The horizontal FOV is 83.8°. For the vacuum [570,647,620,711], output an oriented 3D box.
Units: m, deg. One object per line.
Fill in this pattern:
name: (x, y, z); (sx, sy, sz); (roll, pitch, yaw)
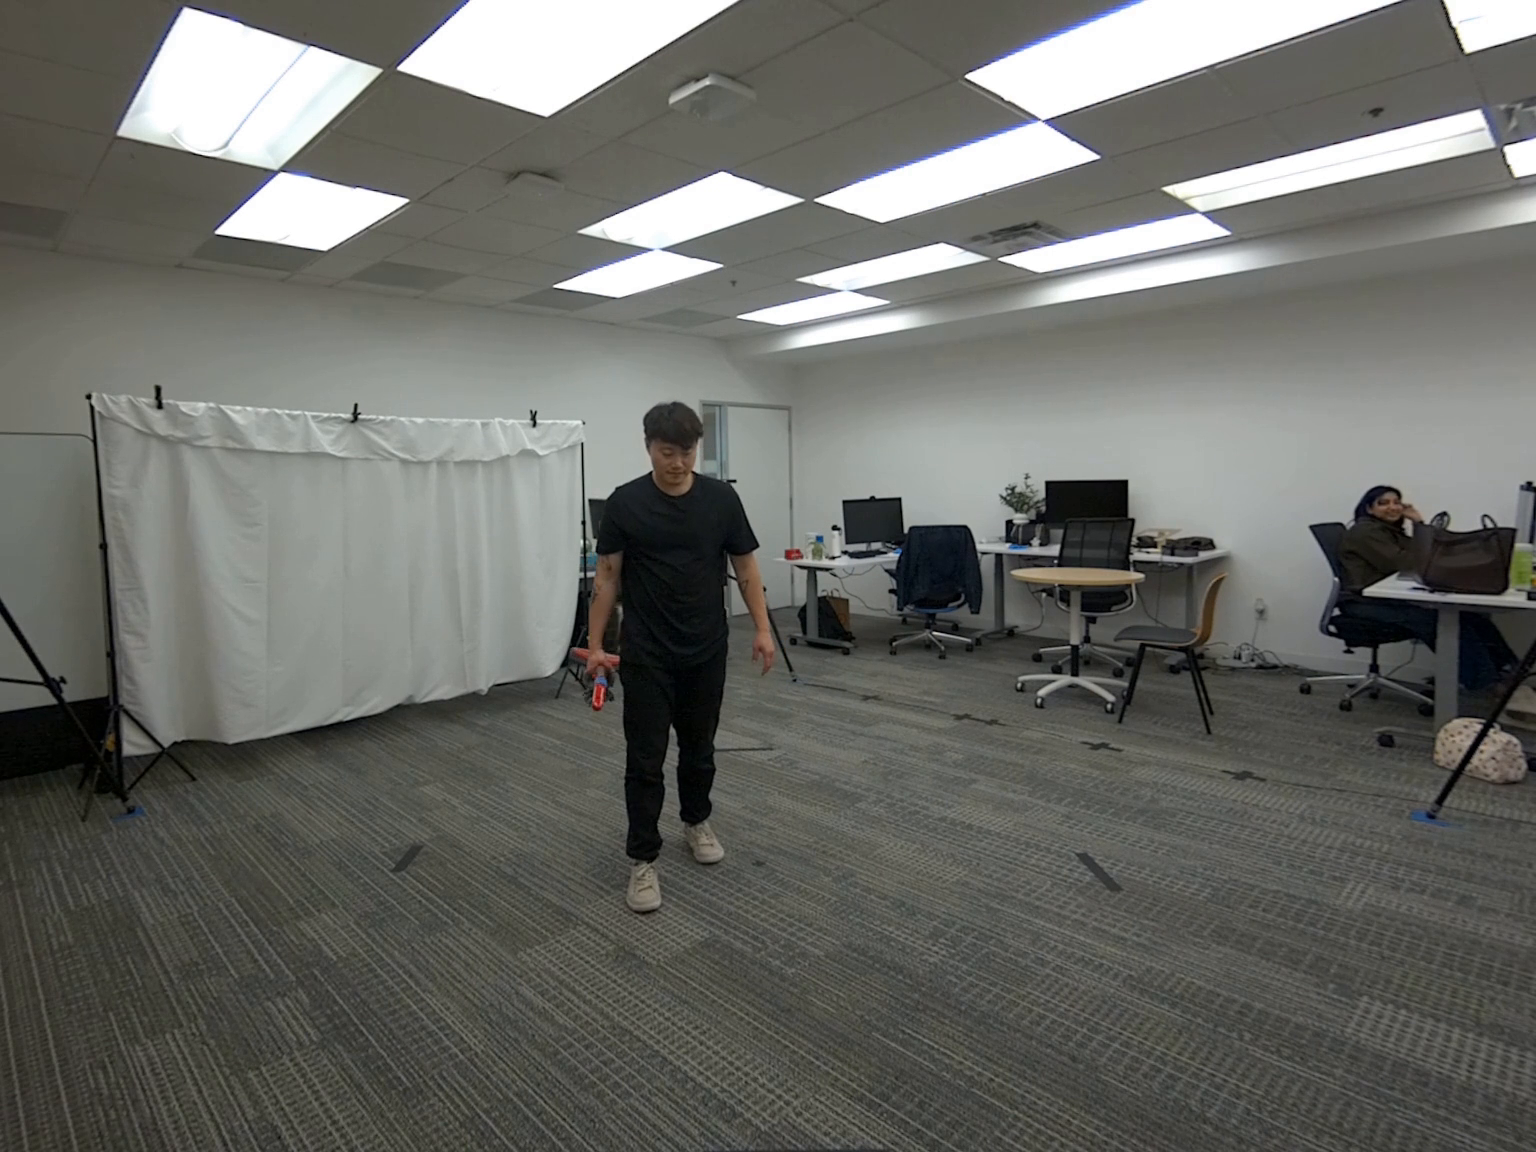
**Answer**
vacuum: (-0.566, 0.364, 2.853); (0.250, 0.144, 1.057); (13, -3, -11)
